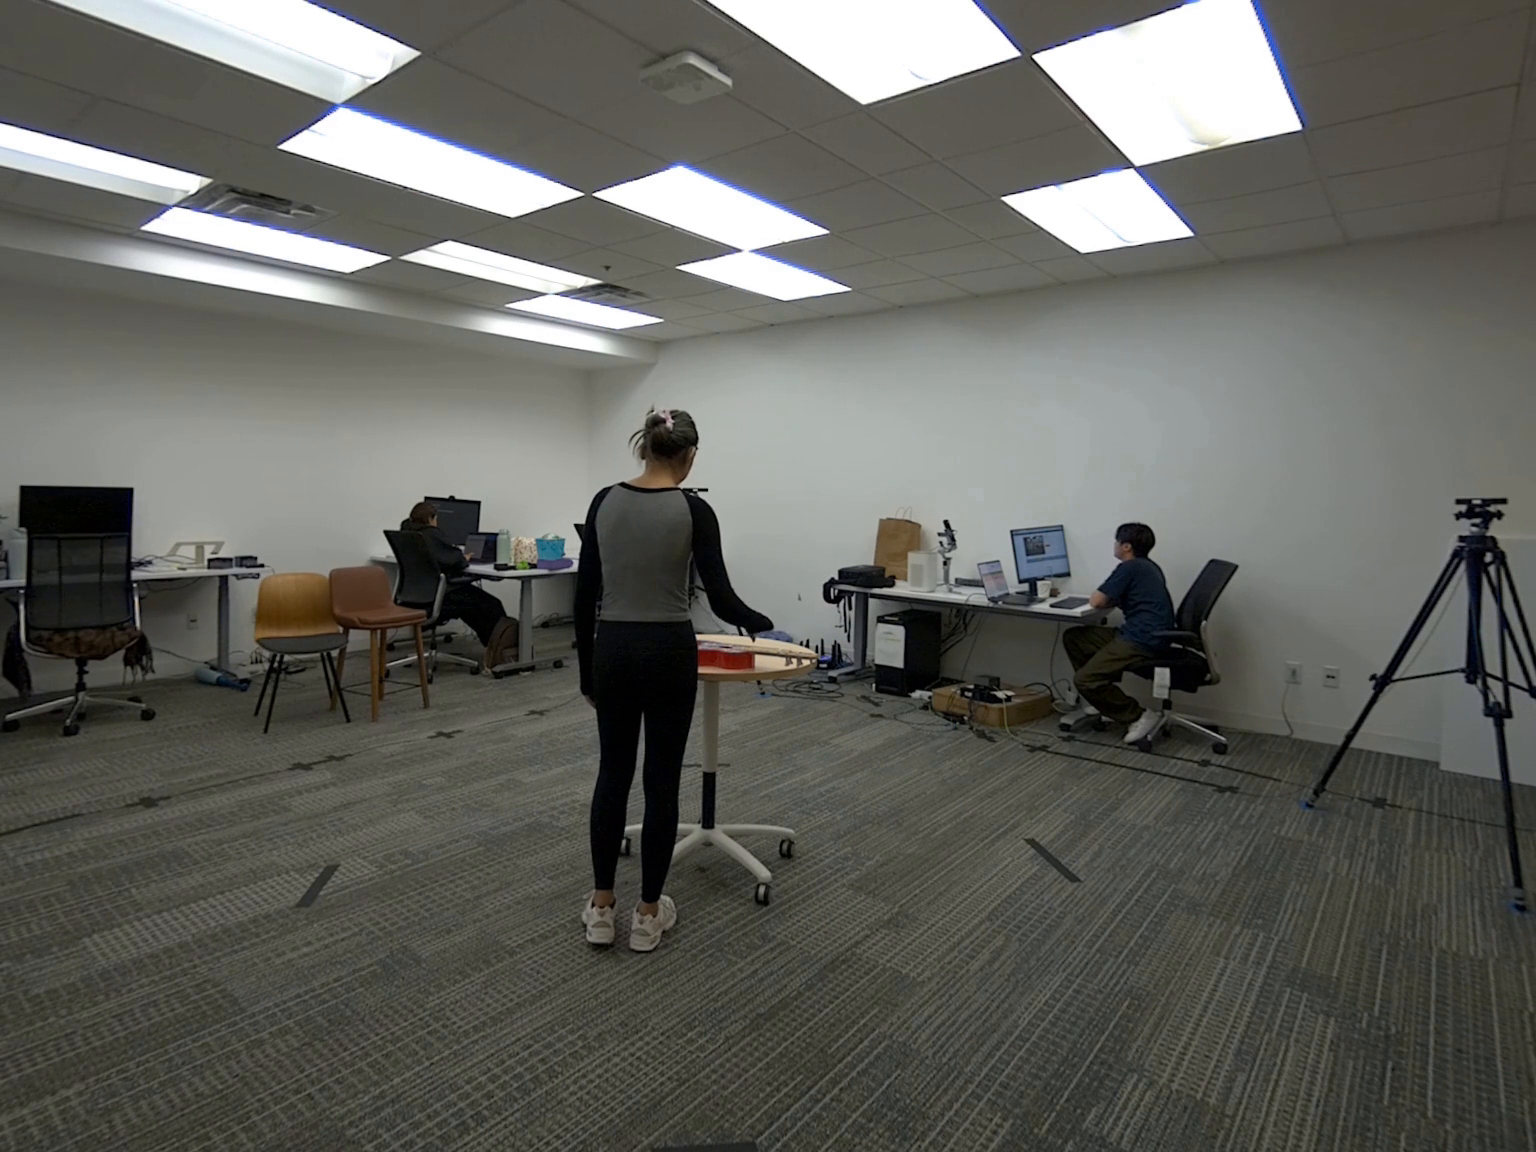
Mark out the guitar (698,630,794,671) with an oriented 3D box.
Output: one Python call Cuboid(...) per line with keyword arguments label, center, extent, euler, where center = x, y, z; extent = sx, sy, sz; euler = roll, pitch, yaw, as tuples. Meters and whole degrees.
Cuboid(label="guitar", center=(-0.090, 0.271, 2.833), extent=(0.512, 0.070, 0.188), euler=(5, 6, 29))
